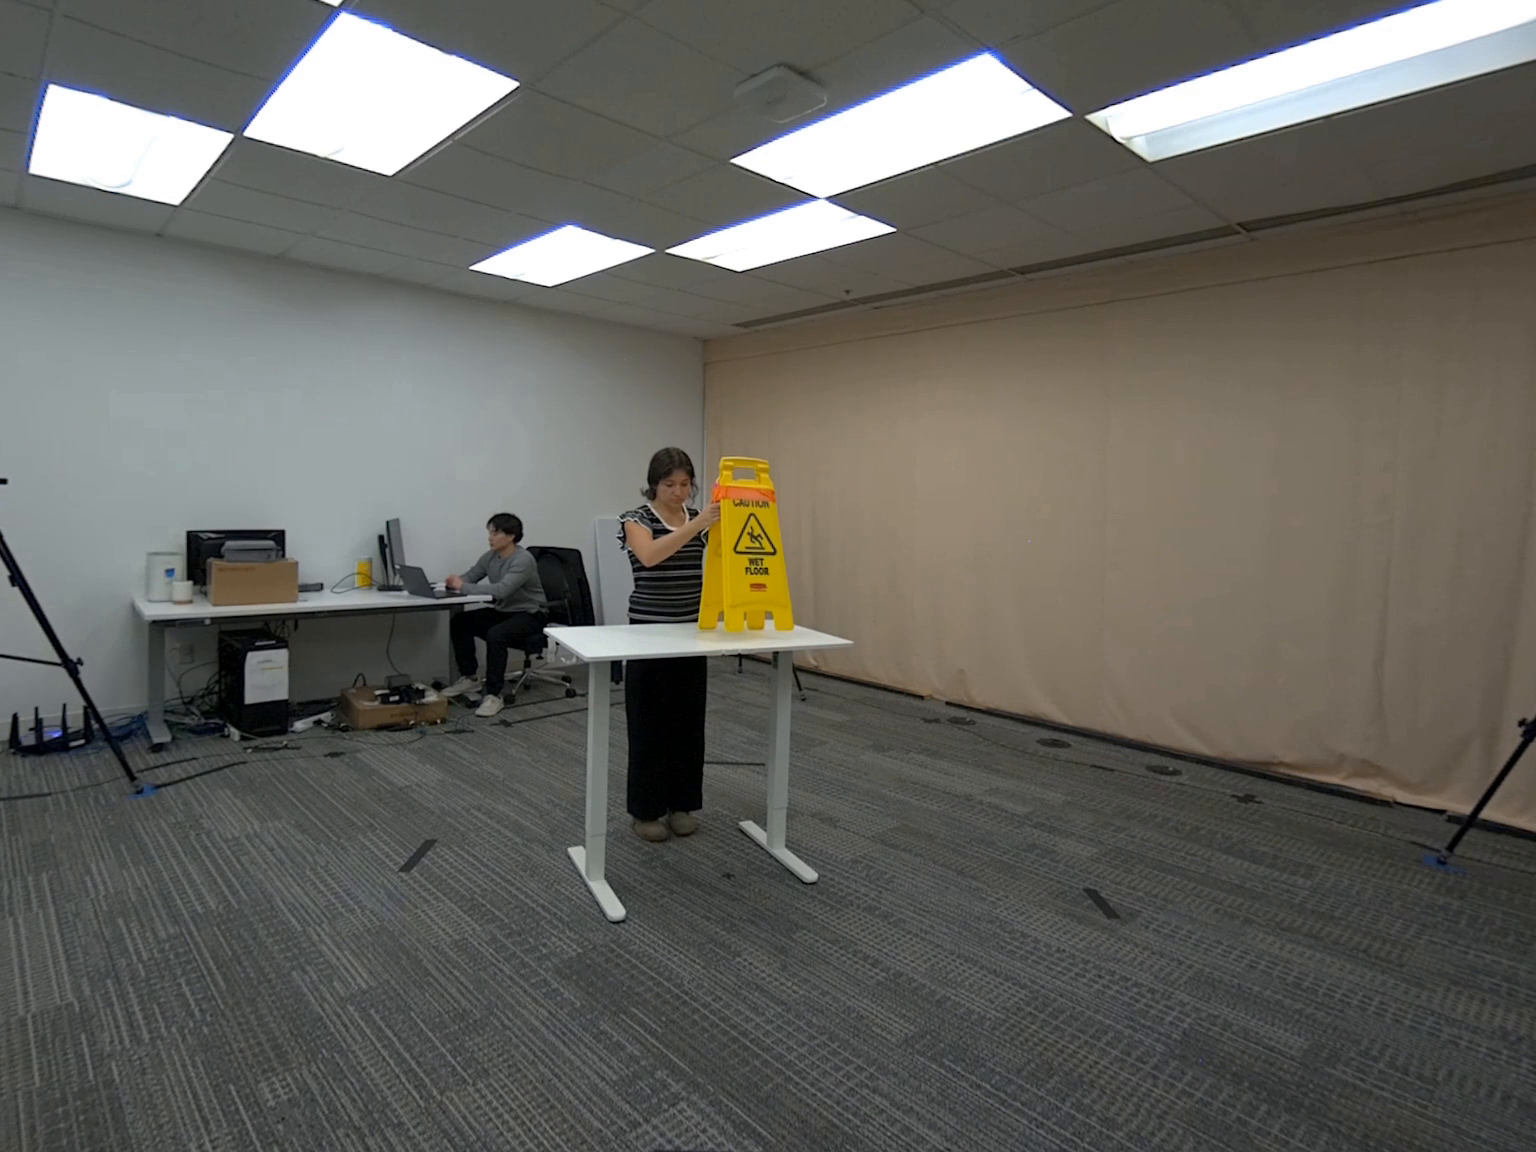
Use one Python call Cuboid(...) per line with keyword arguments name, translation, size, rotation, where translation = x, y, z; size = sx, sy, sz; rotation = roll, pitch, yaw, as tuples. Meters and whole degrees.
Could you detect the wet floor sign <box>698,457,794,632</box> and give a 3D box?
Cuboid(name="wet floor sign", translation=(-0.094, -0.119, 3.173), size=(0.277, 0.648, 0.294), rotation=(1, -4, -25))
